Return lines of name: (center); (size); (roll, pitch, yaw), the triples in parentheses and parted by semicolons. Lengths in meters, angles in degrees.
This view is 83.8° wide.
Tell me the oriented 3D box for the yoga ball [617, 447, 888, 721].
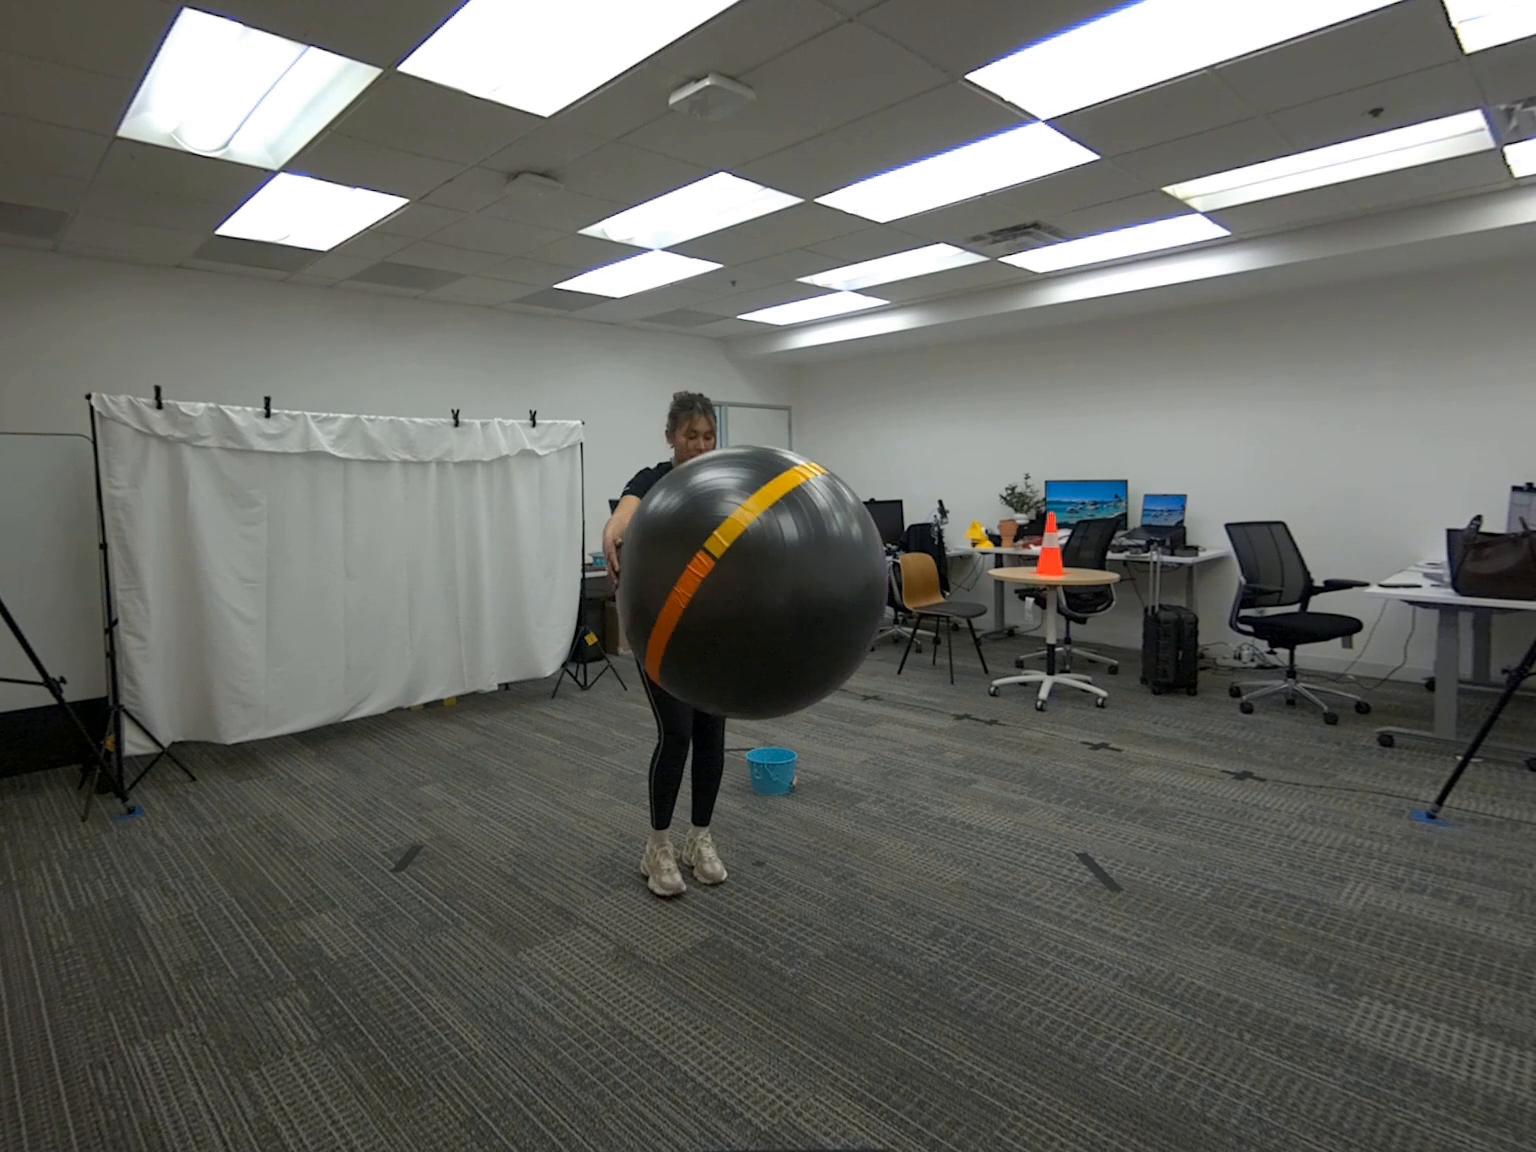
yoga ball: (-0.051, 0.028, 2.378); (0.757, 0.755, 0.762); (-1, 5, -2)
